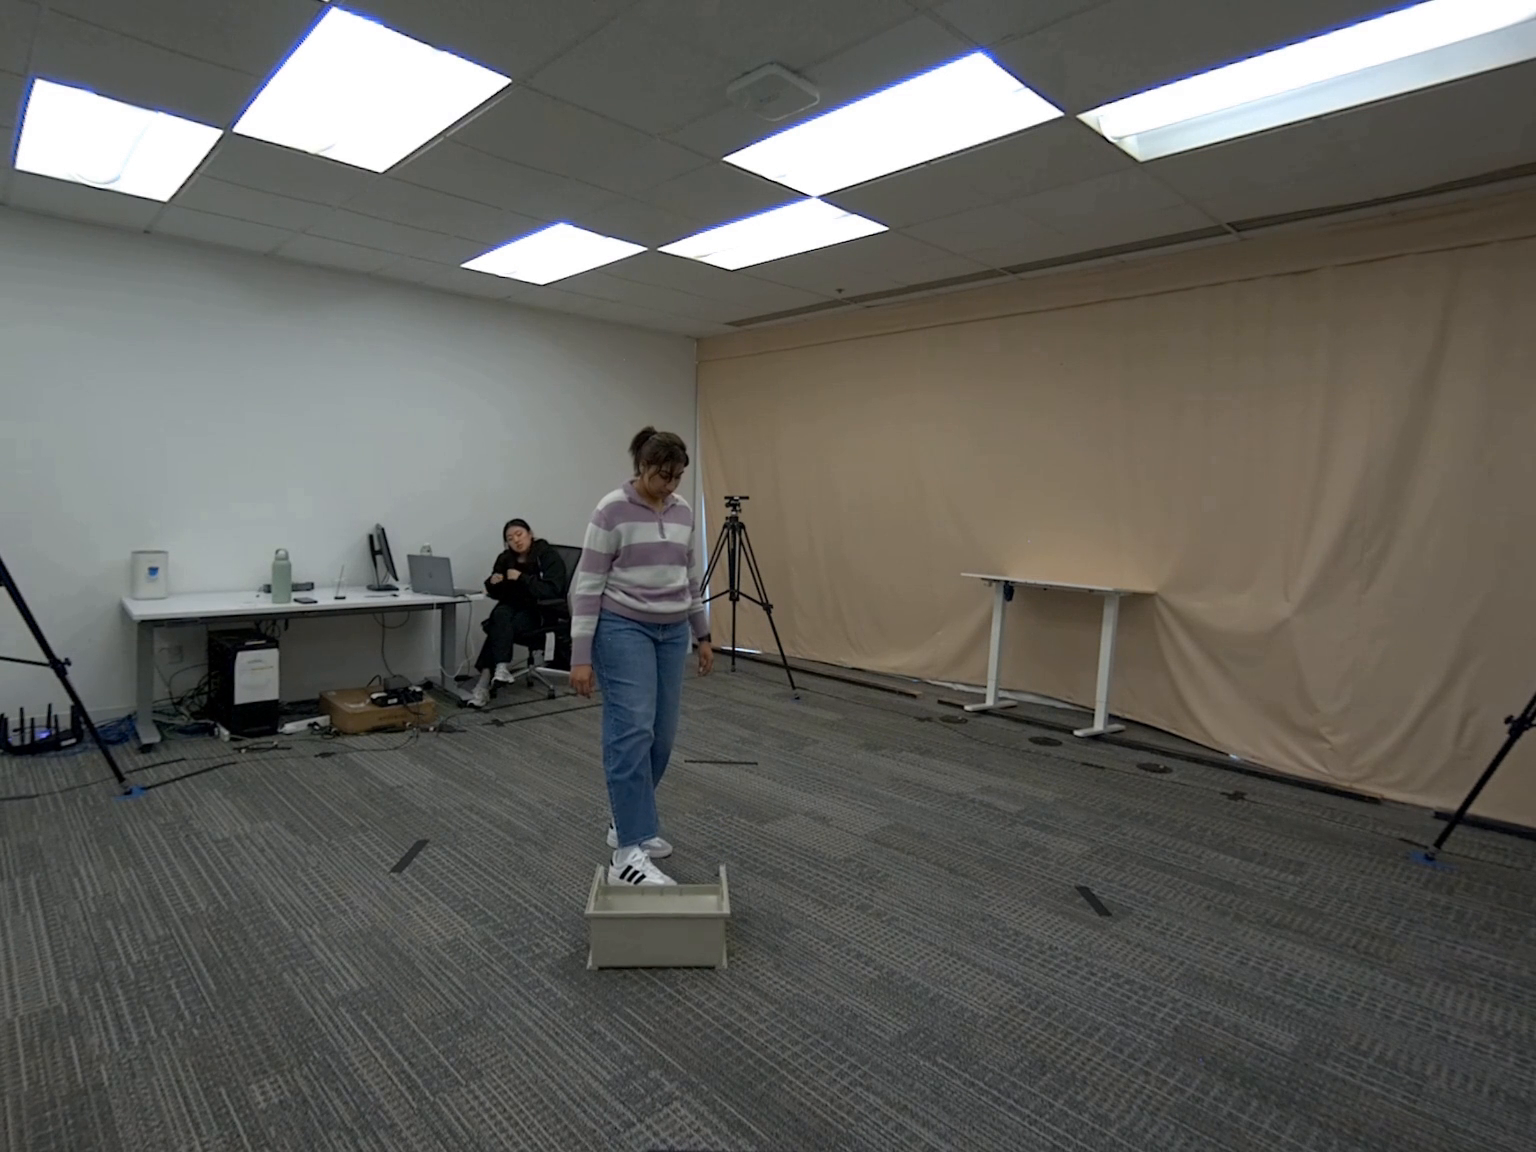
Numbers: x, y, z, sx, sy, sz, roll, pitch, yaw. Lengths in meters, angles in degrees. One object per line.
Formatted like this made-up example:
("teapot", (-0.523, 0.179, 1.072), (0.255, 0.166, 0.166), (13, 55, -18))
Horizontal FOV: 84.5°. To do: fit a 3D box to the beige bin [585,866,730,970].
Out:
("beige bin", (-0.345, 1.058, 2.632), (0.421, 0.188, 0.380), (1, 5, -5))
